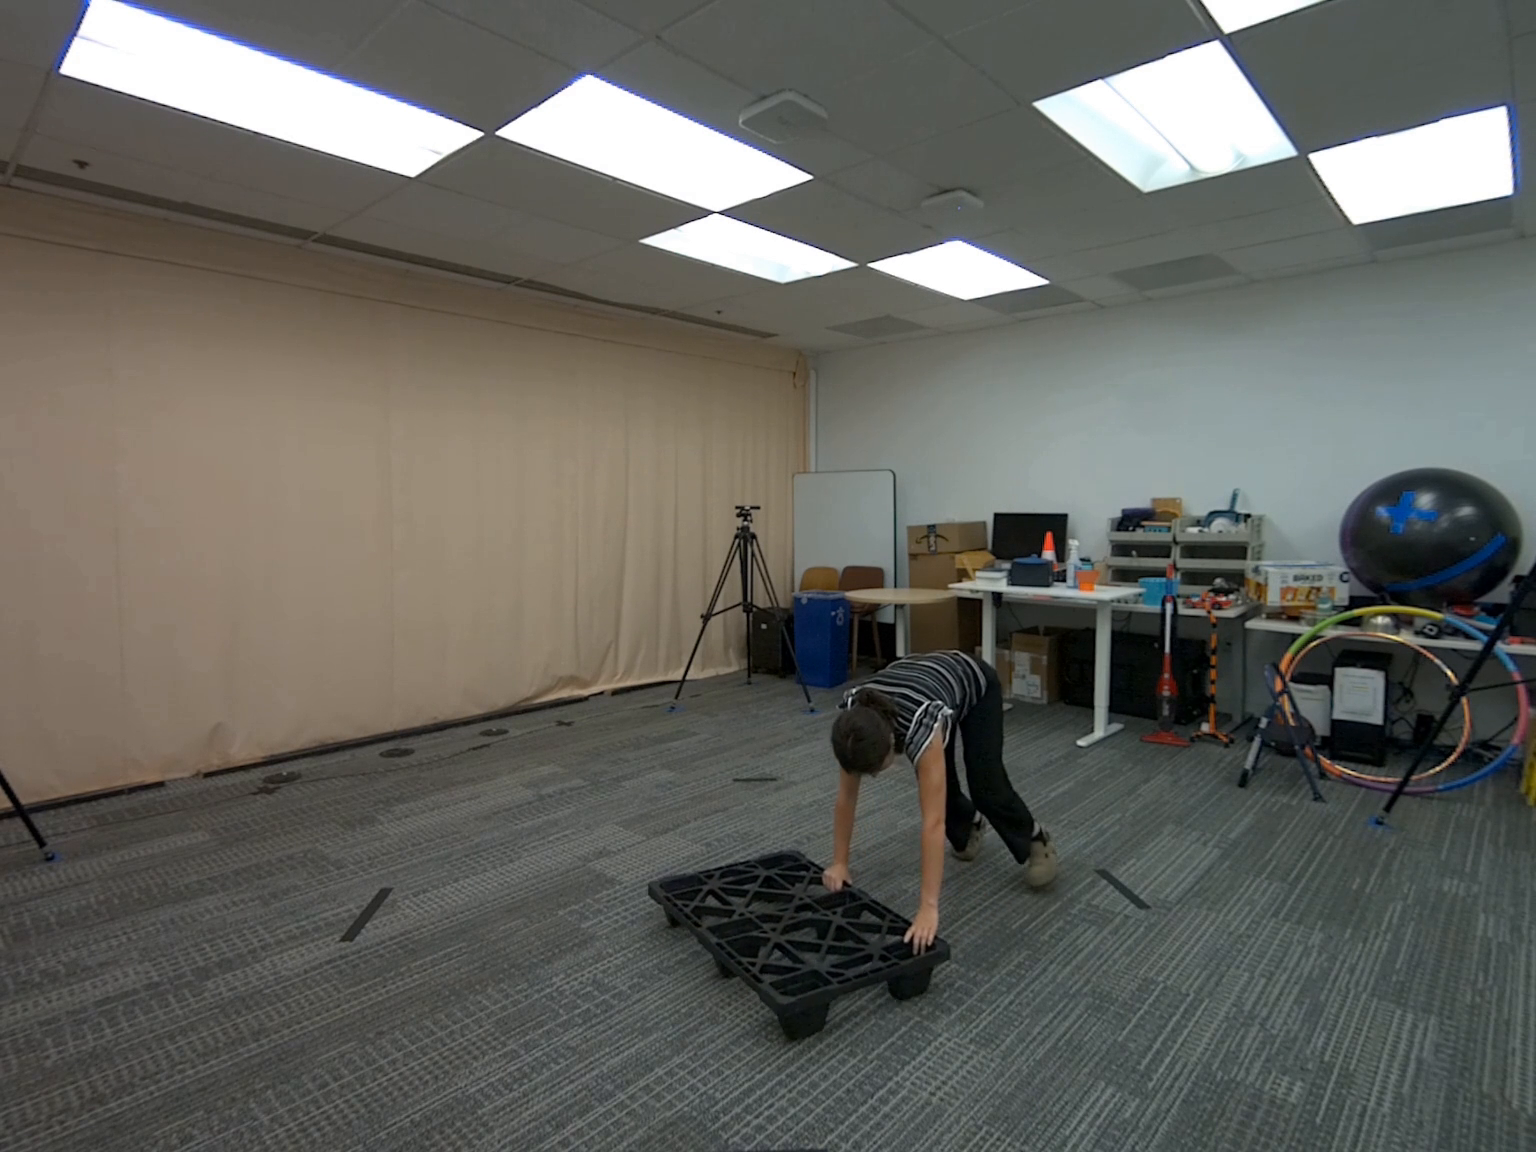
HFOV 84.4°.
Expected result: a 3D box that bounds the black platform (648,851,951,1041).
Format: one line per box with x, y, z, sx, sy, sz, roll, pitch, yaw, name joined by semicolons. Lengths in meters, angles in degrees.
0.060;1.105;2.608;0.589;0.143;0.830;-3;5;-31;black platform
